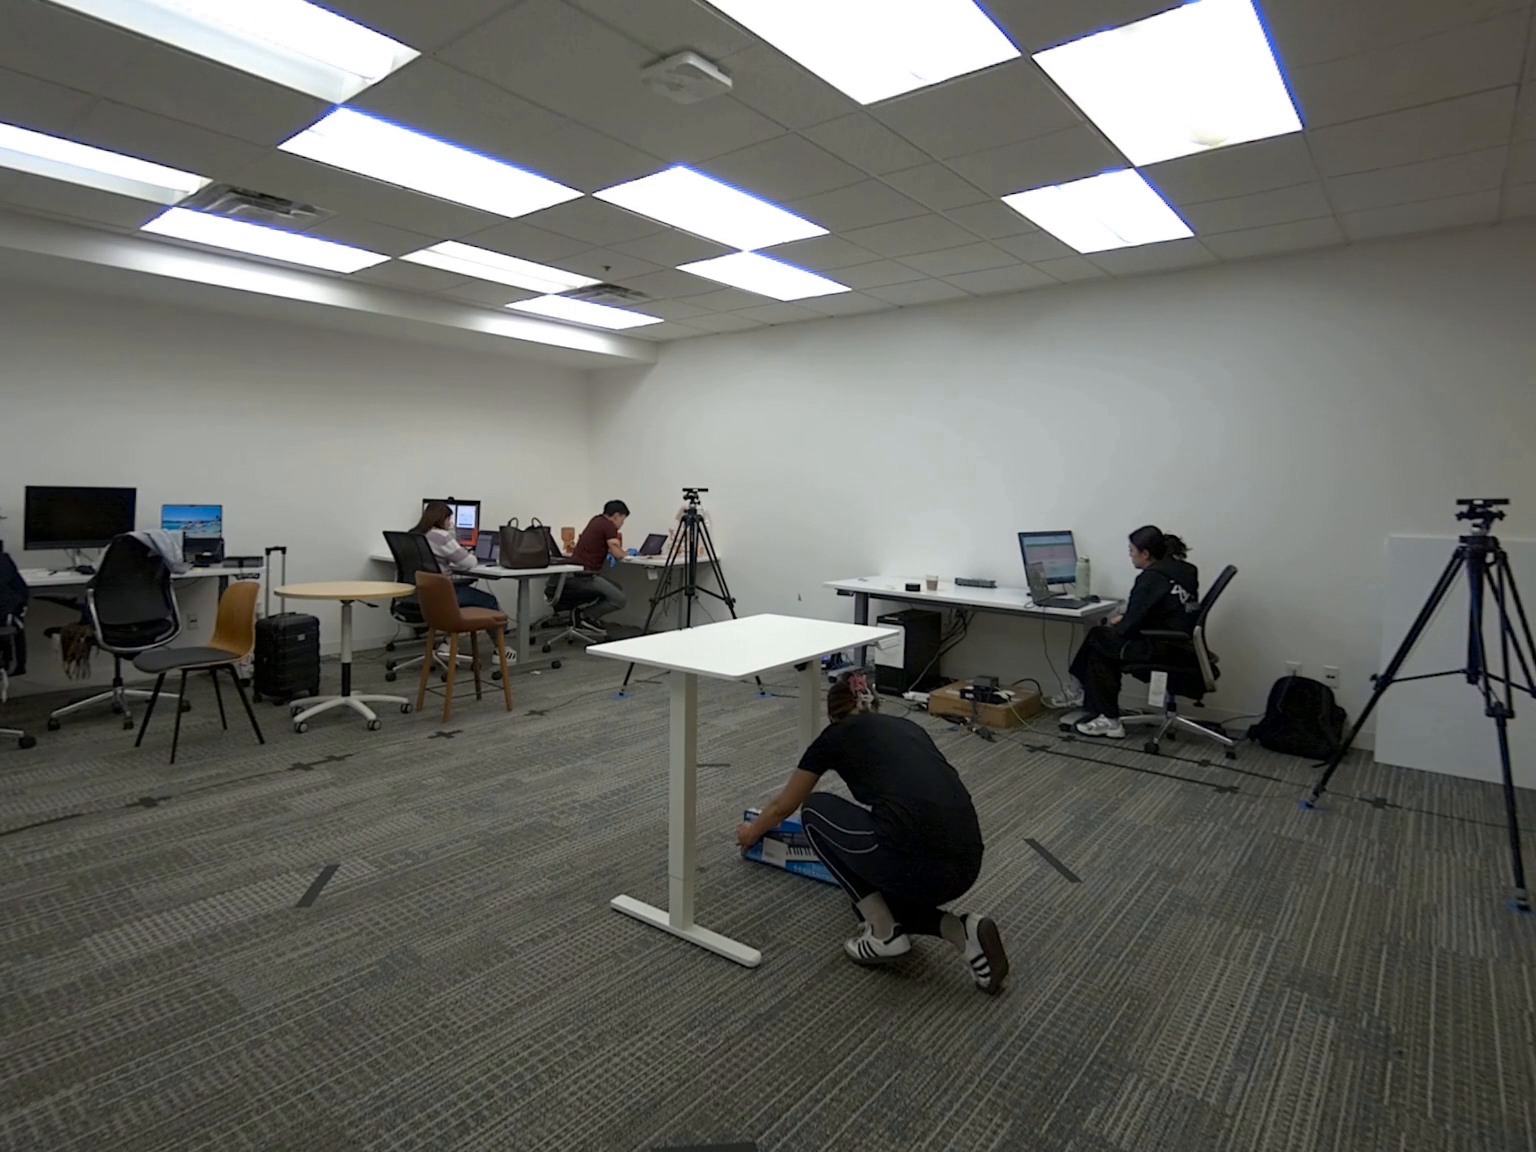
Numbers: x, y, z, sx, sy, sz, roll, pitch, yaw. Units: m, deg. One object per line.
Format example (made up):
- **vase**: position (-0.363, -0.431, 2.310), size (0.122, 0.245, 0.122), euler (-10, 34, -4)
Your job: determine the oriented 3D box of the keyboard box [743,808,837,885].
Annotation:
- **keyboard box**: position (0.100, 0.984, 3.114), size (0.450, 0.176, 0.057), euler (4, -4, 32)
